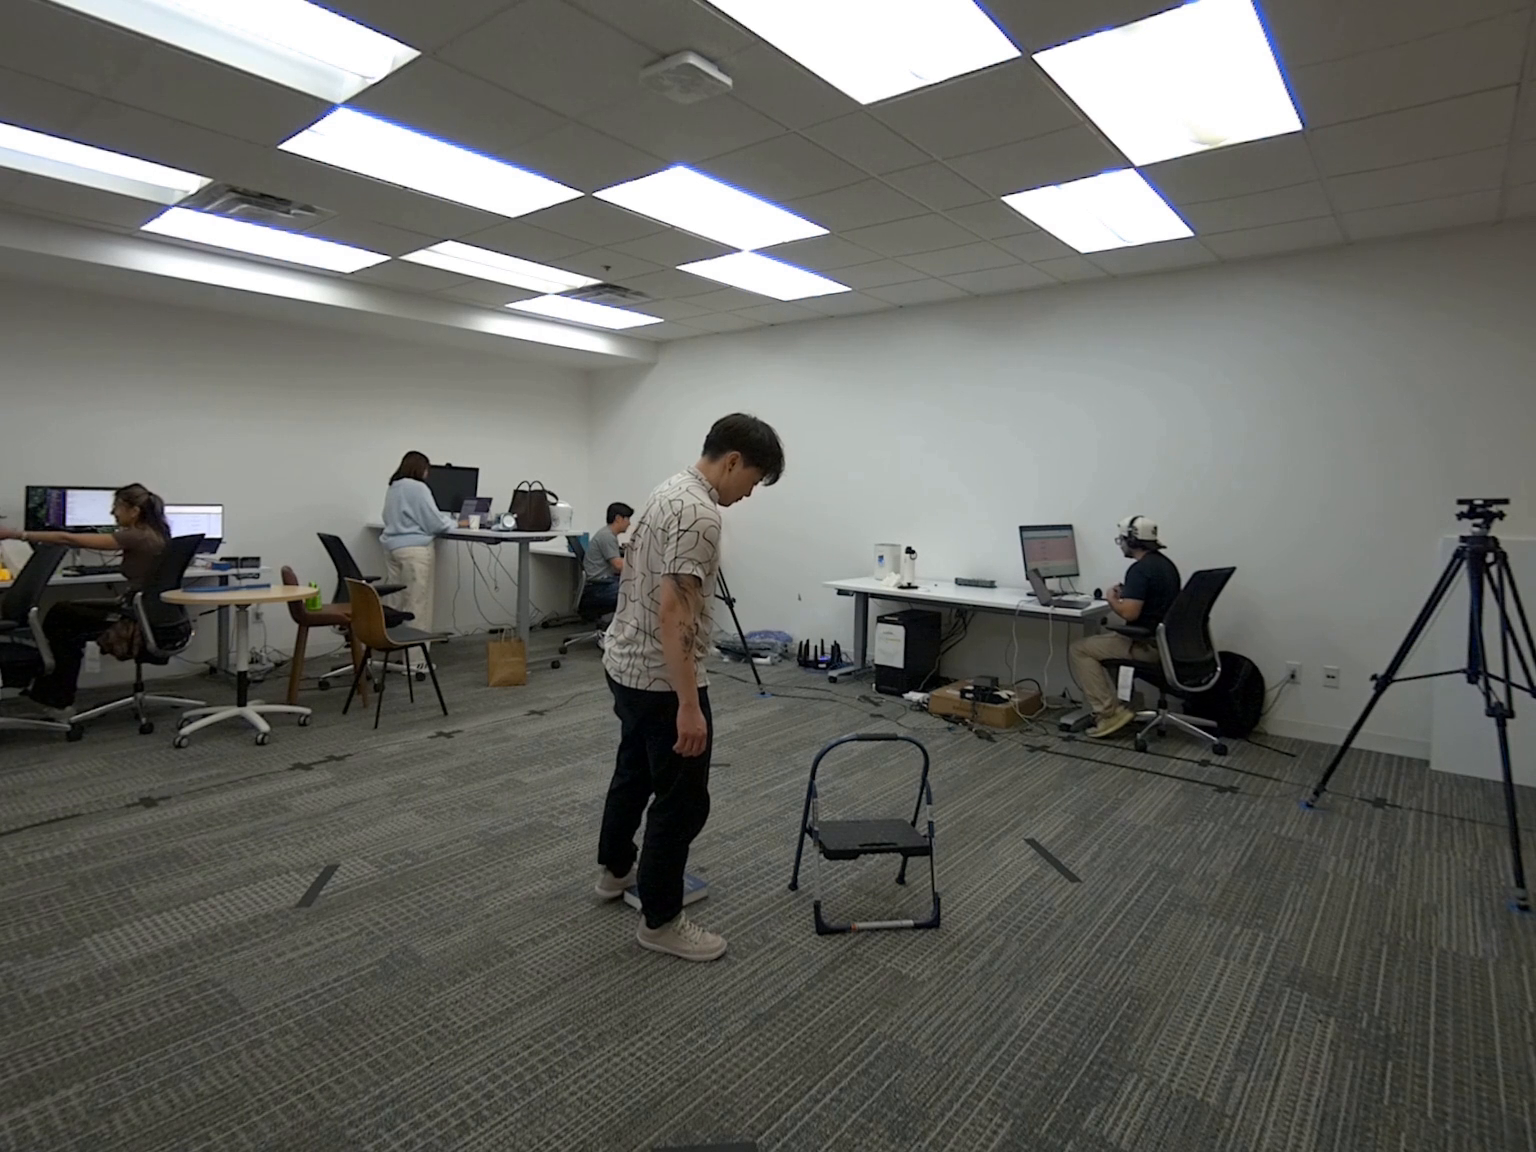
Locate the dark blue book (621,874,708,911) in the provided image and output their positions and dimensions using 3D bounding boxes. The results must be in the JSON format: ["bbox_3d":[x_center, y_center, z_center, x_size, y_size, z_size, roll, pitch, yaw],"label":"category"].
[{"bbox_3d":[-0.342,1.065,2.865,0.169,0.045,0.237,6,6,44],"label":"dark blue book"}]
